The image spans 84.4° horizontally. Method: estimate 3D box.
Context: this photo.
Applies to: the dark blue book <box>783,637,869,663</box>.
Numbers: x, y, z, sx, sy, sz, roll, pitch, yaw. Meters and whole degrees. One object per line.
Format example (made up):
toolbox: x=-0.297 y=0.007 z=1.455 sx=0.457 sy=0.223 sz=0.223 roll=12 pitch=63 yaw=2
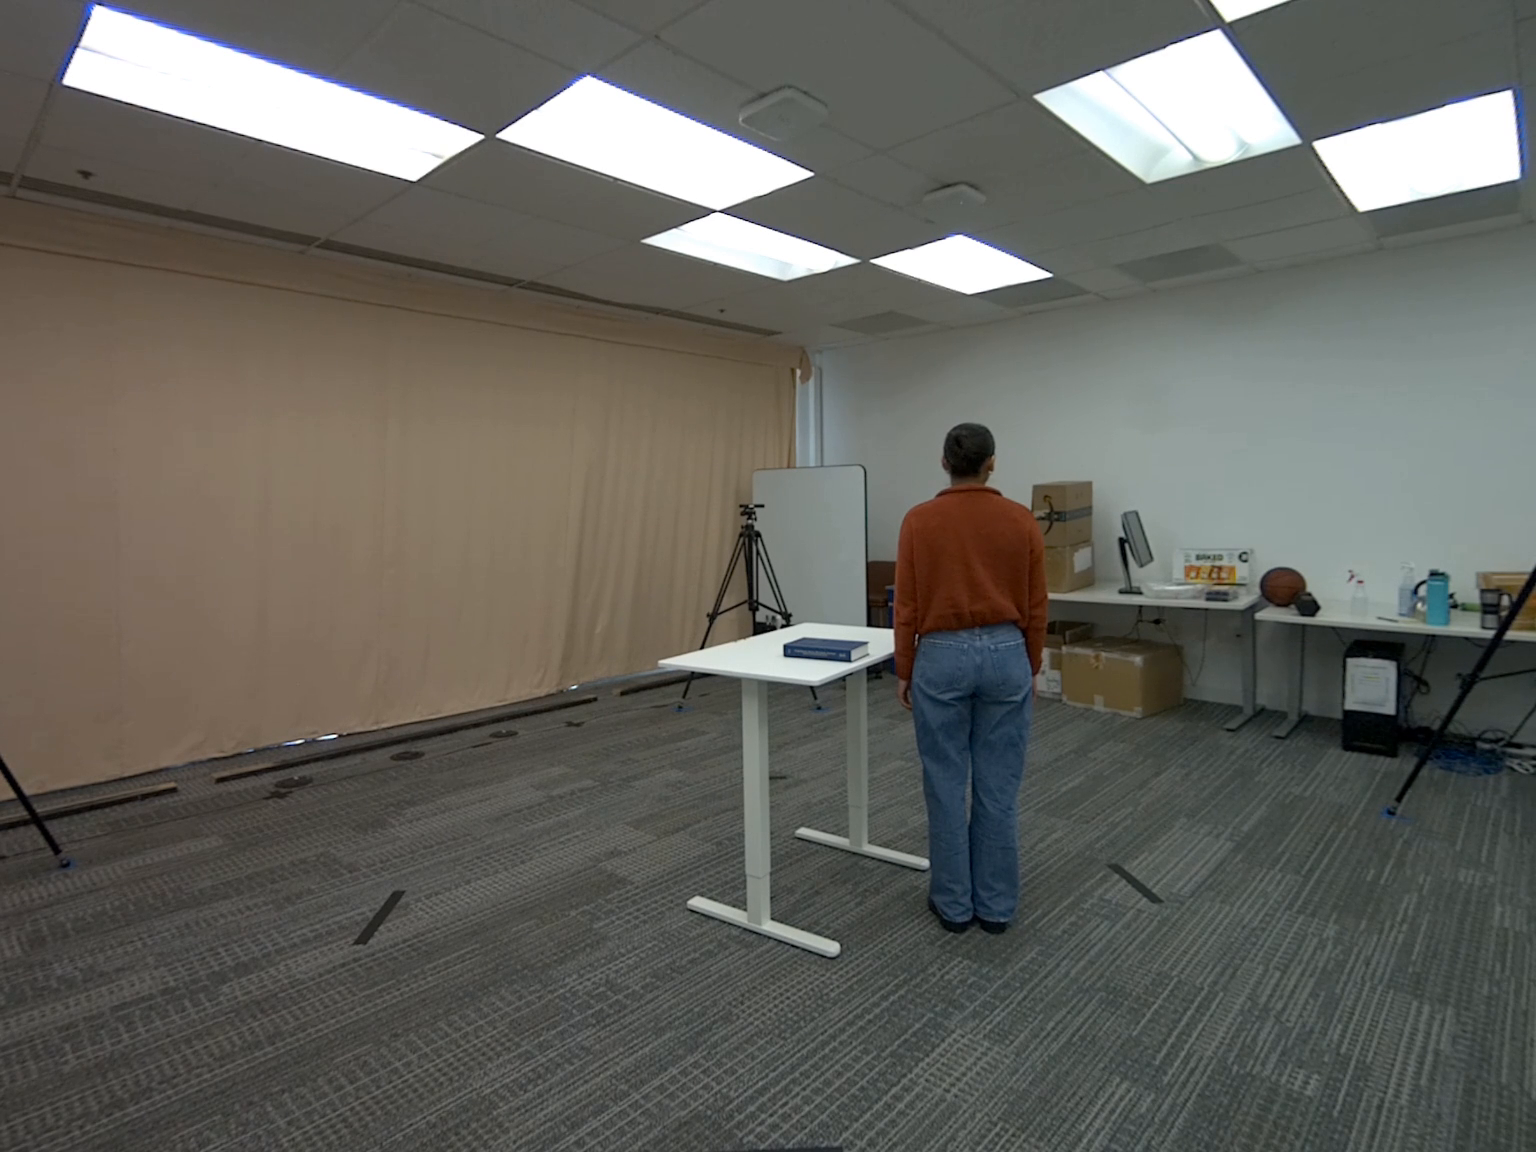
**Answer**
dark blue book: x=0.197 y=0.247 z=2.828 sx=0.252 sy=0.045 sz=0.159 roll=2 pitch=5 yaw=29
